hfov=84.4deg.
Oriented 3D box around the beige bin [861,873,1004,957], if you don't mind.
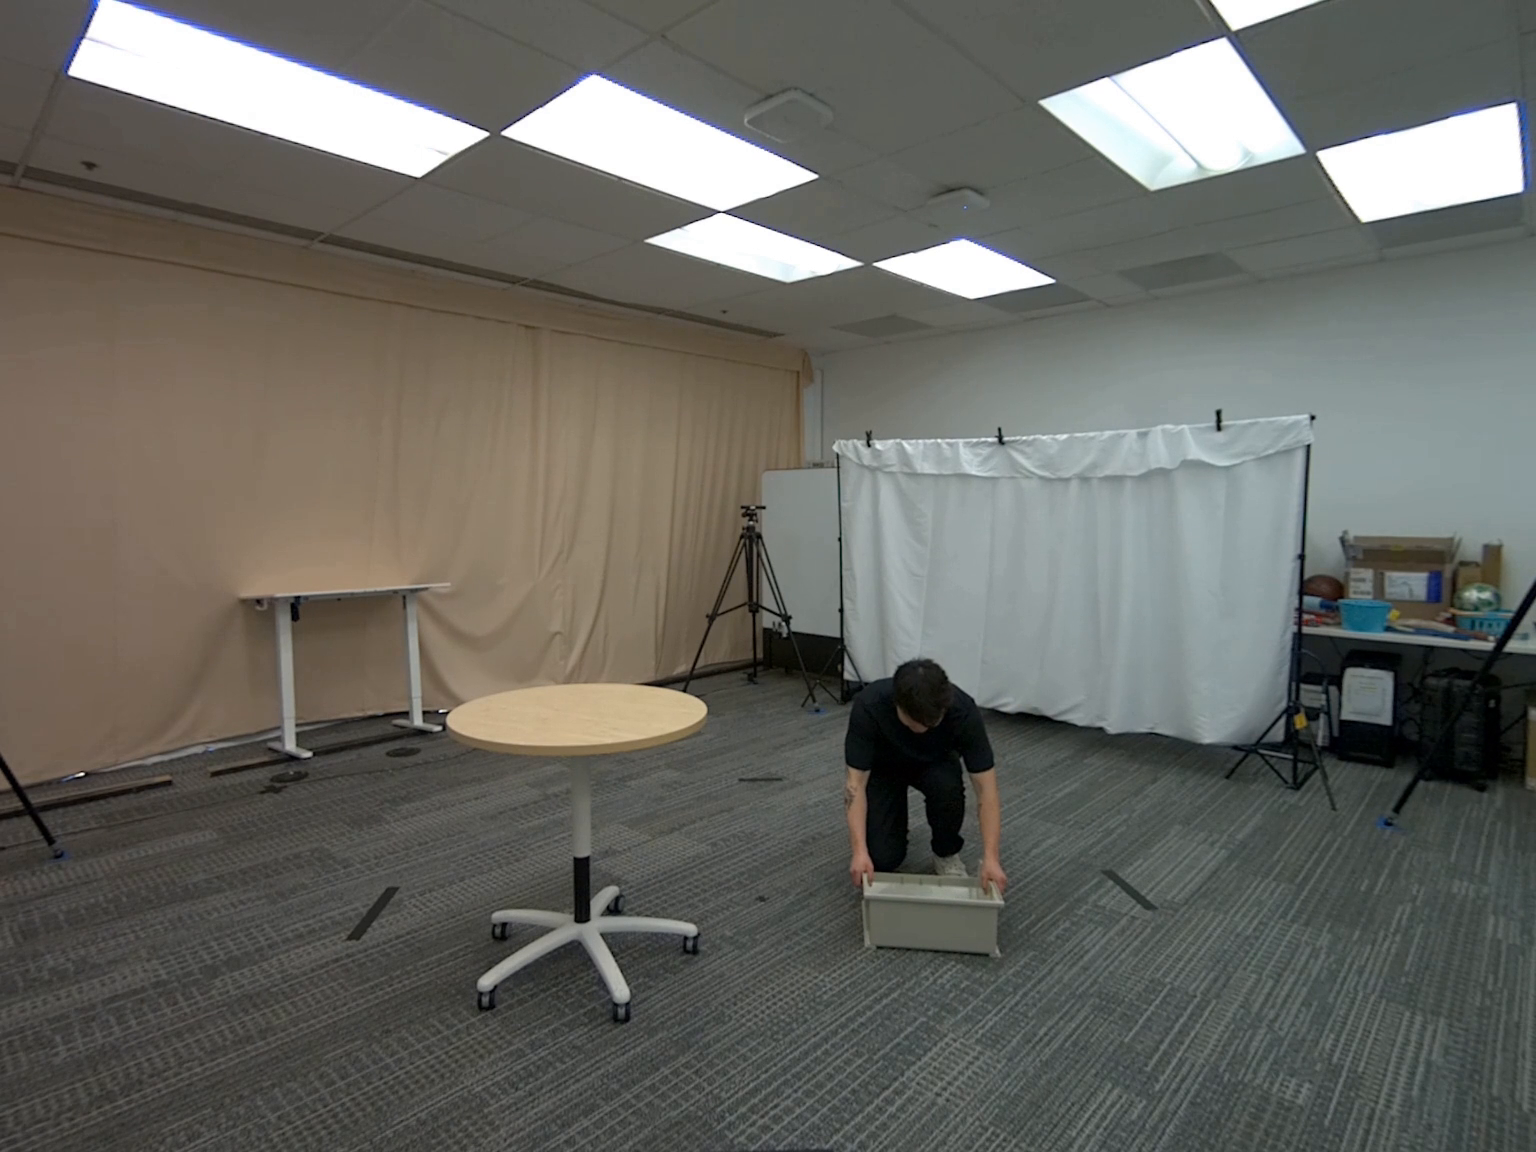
[{"bbox_3d":[0.527,1.068,2.789,0.425,0.188,0.376,1,5,6],"label":"beige bin"}]
